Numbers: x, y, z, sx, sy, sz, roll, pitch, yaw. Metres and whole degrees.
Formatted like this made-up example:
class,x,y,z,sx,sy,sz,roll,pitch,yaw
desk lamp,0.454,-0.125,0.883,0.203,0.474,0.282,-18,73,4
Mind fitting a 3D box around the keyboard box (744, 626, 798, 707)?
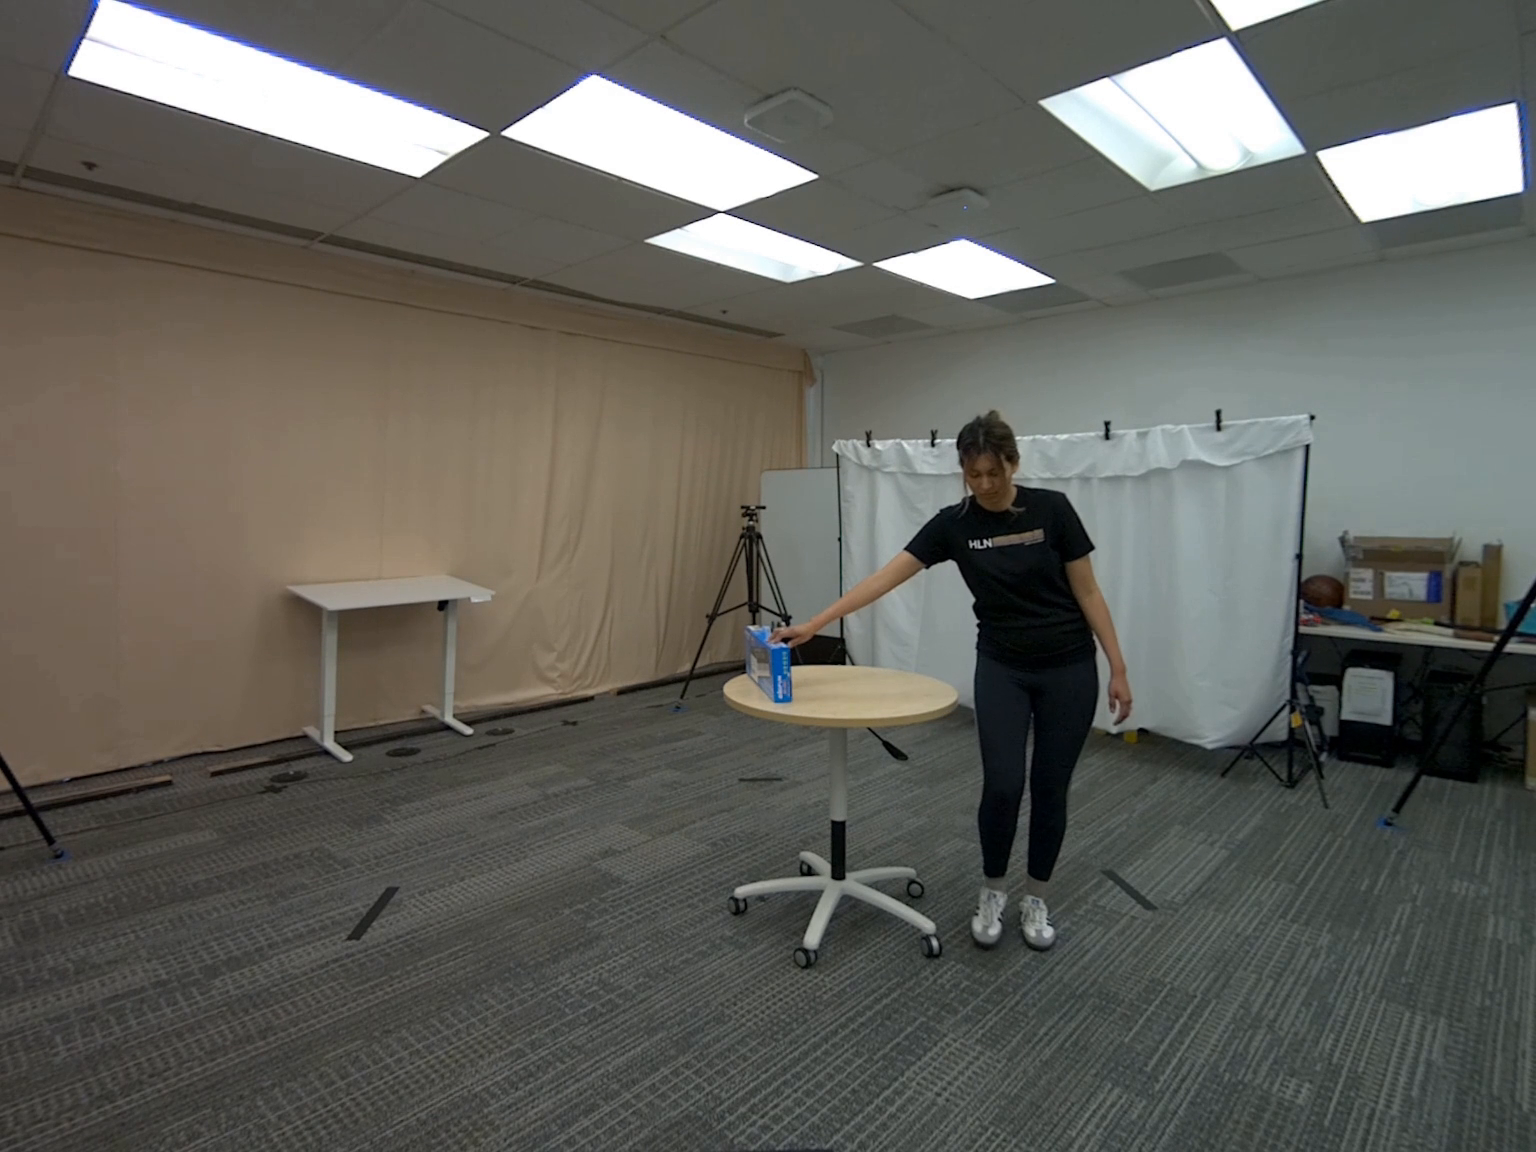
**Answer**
class,x,y,z,sx,sy,sz,roll,pitch,yaw
keyboard box,0.003,0.289,2.810,0.058,0.175,0.443,-7,7,-12
